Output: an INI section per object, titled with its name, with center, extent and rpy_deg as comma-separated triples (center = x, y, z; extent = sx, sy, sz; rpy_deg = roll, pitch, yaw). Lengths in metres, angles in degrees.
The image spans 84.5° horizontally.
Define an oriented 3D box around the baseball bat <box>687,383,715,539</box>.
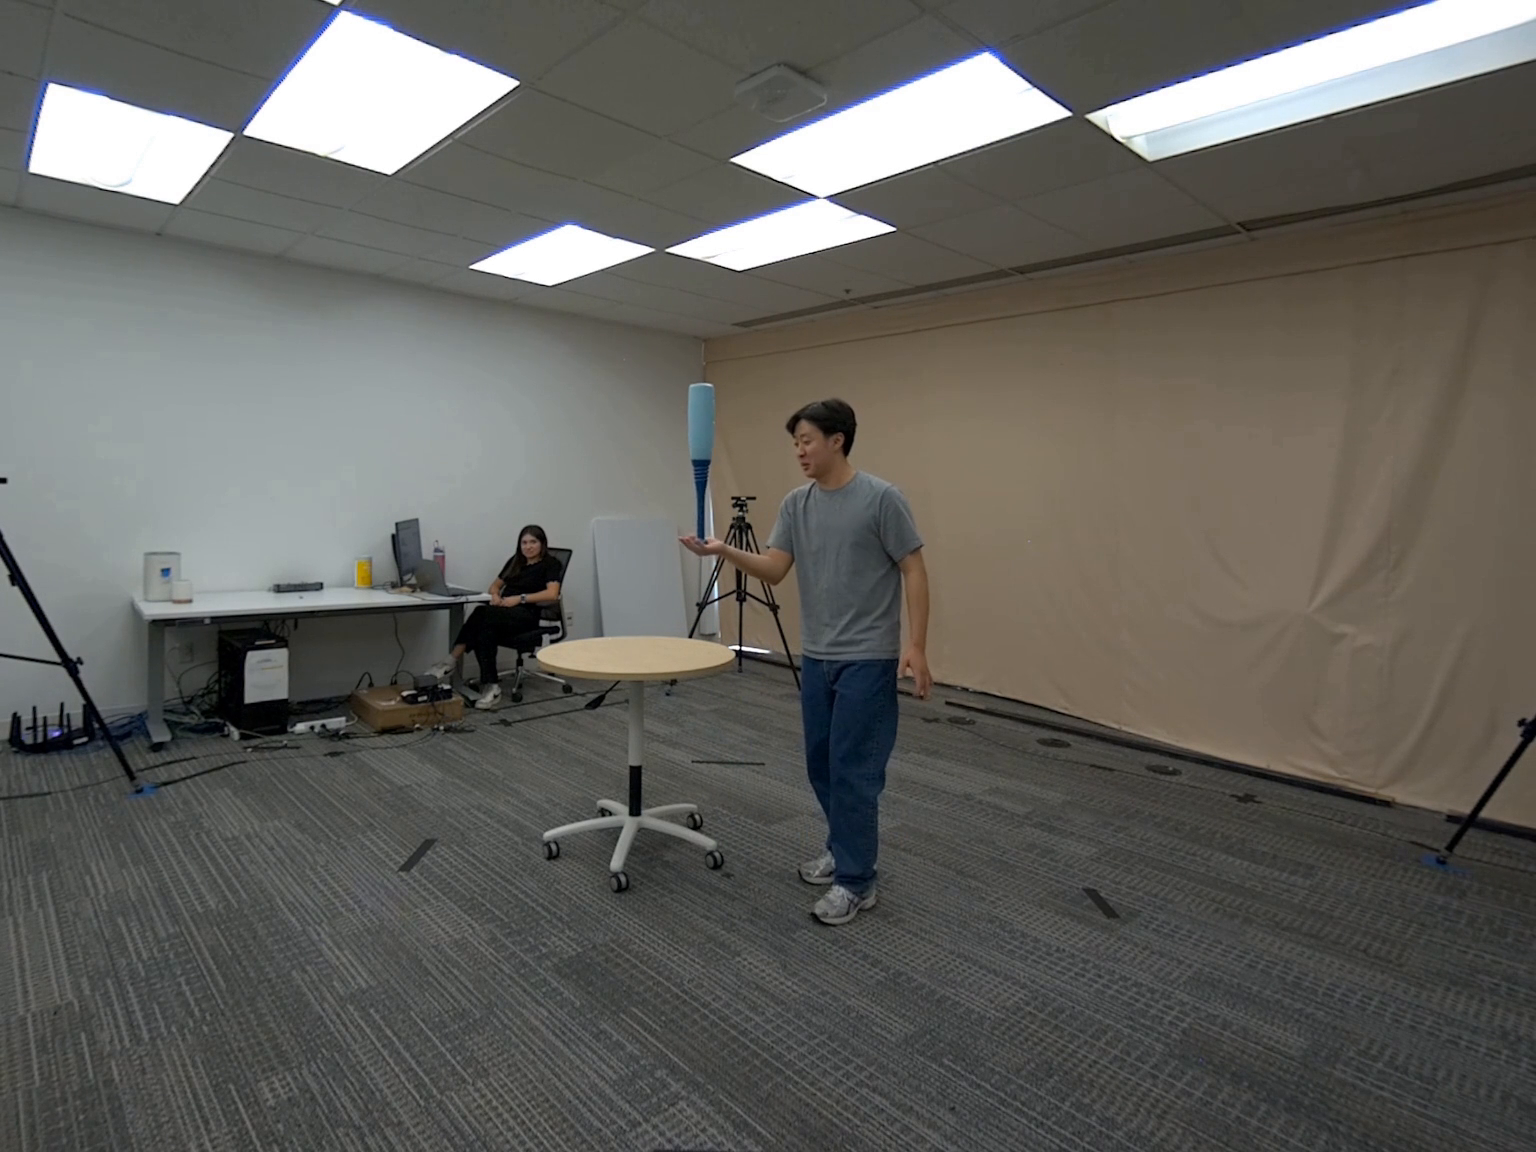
[baseball bat]
center = -0.227, -0.370, 2.799
extent = 0.089, 0.541, 0.089
rpy_deg = 1, 4, -1
